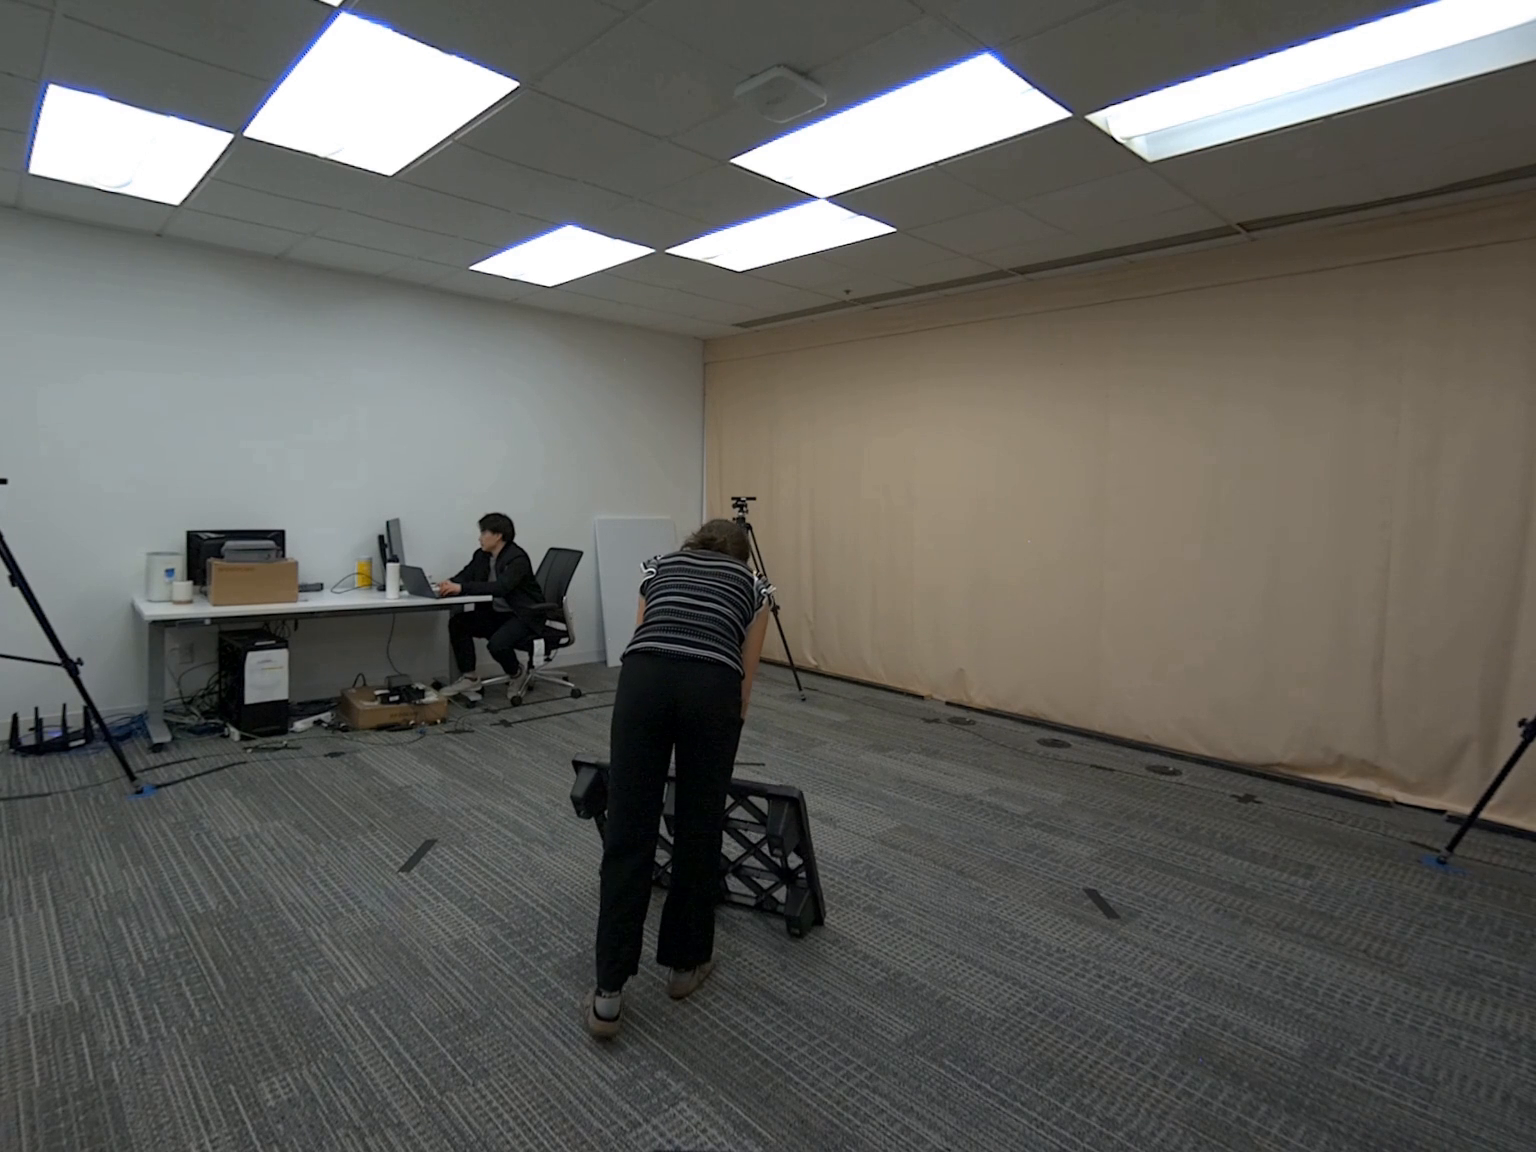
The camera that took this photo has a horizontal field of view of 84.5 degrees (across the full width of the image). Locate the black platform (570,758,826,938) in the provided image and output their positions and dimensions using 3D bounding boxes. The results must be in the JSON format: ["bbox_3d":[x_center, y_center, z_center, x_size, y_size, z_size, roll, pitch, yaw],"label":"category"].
[{"bbox_3d":[-0.253,0.893,2.744,0.820,0.592,0.144,4,32,23],"label":"black platform"}]
